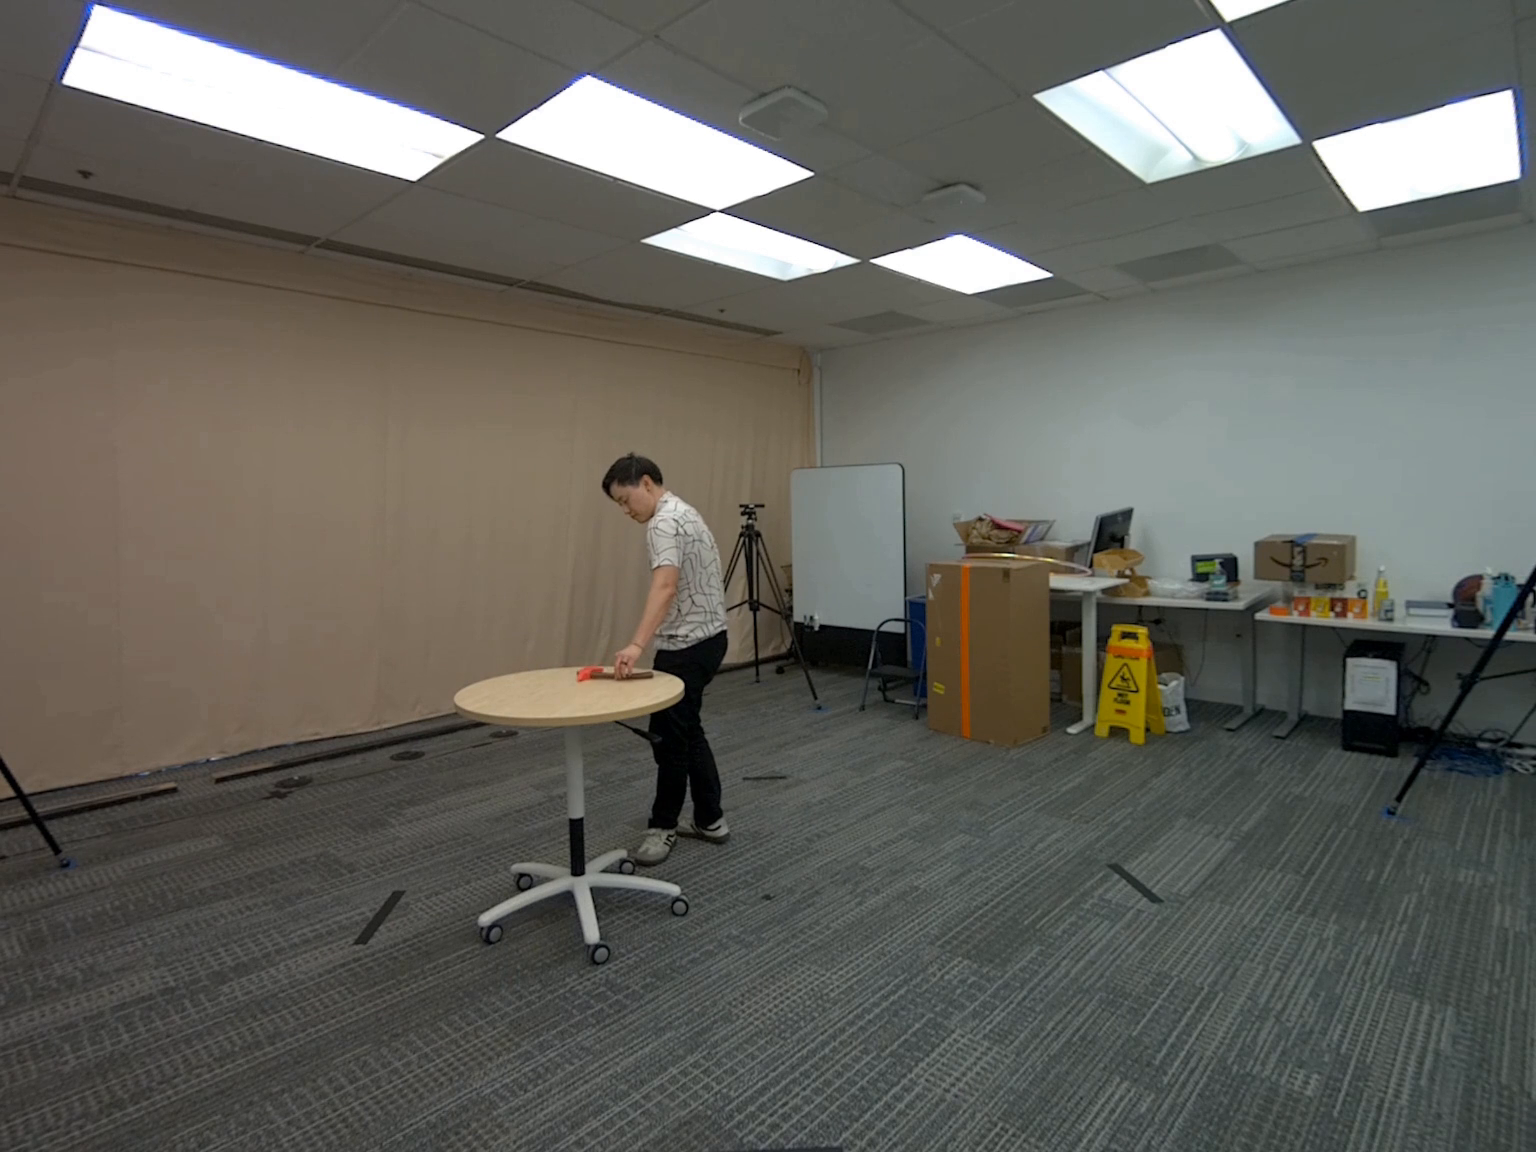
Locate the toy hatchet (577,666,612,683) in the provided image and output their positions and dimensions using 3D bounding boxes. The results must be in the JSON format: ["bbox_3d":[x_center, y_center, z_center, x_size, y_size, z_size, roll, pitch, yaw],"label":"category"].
[{"bbox_3d":[-0.552,0.349,3.024,0.269,0.029,0.132,-2,13,-4],"label":"toy hatchet"}]
